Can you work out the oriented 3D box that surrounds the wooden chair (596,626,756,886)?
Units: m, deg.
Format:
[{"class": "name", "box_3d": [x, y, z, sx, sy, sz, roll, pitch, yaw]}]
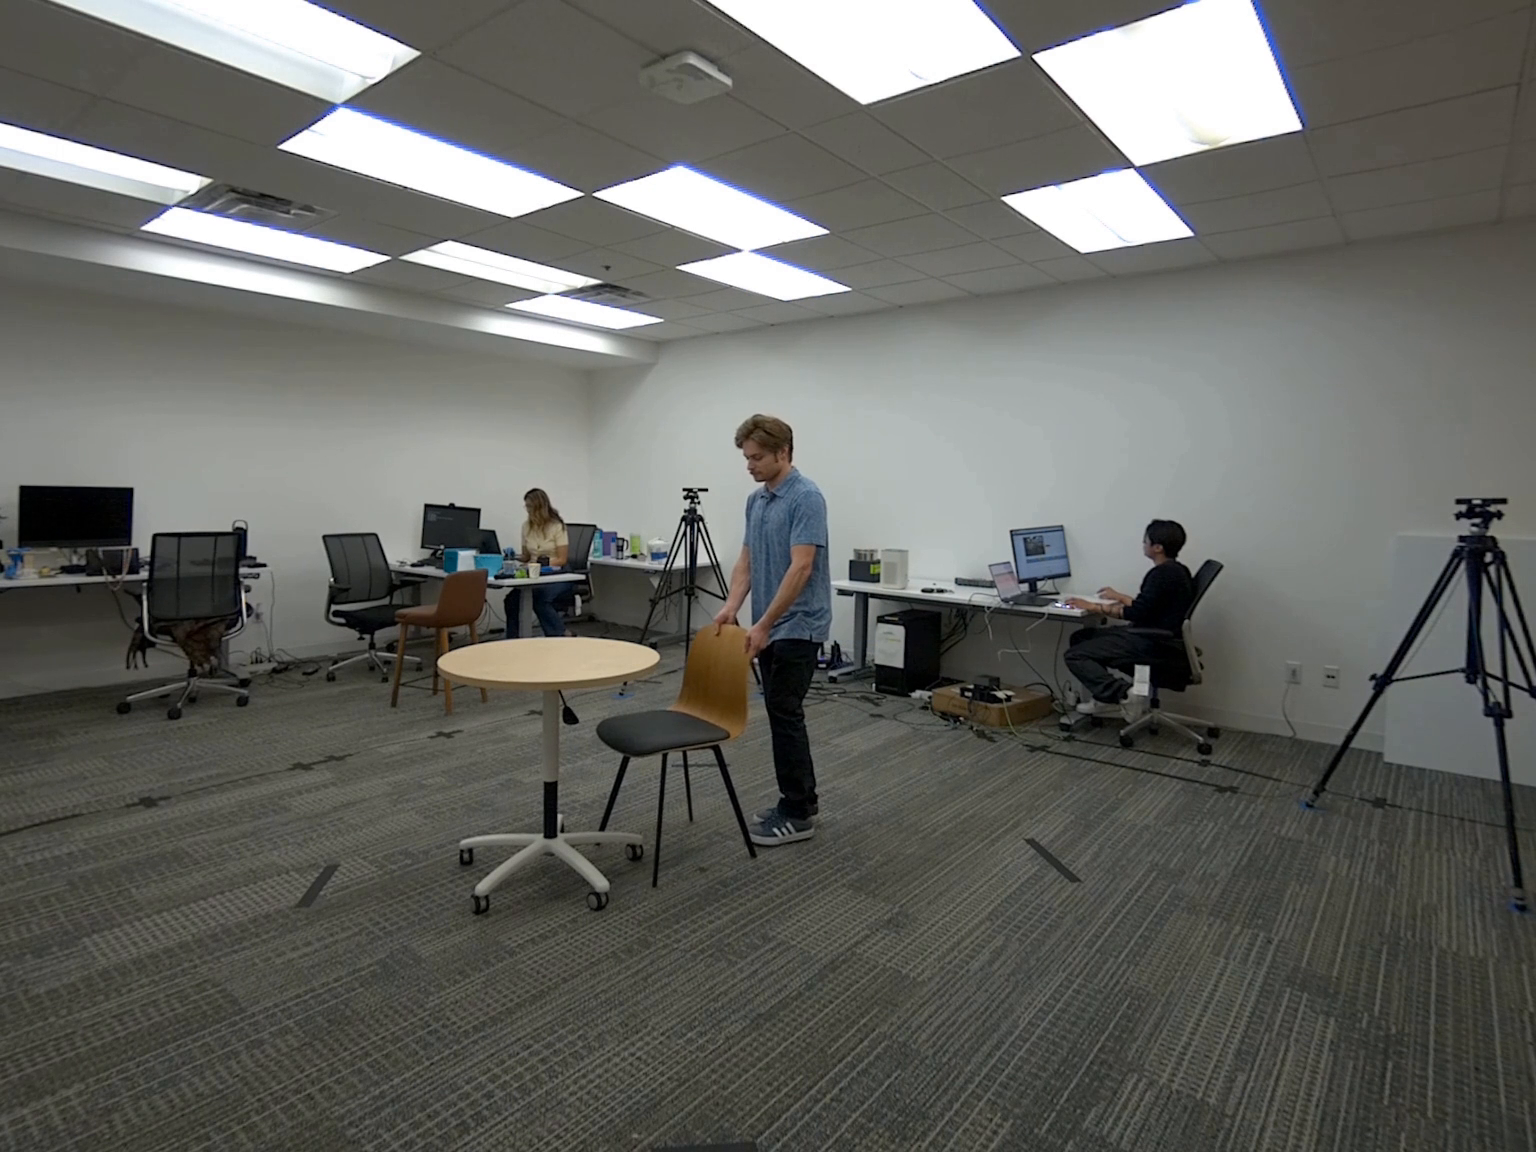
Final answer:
[{"class": "wooden chair", "box_3d": [-0.367, 0.628, 3.233, 0.506, 0.877, 0.494, 4, 1, -37]}]
